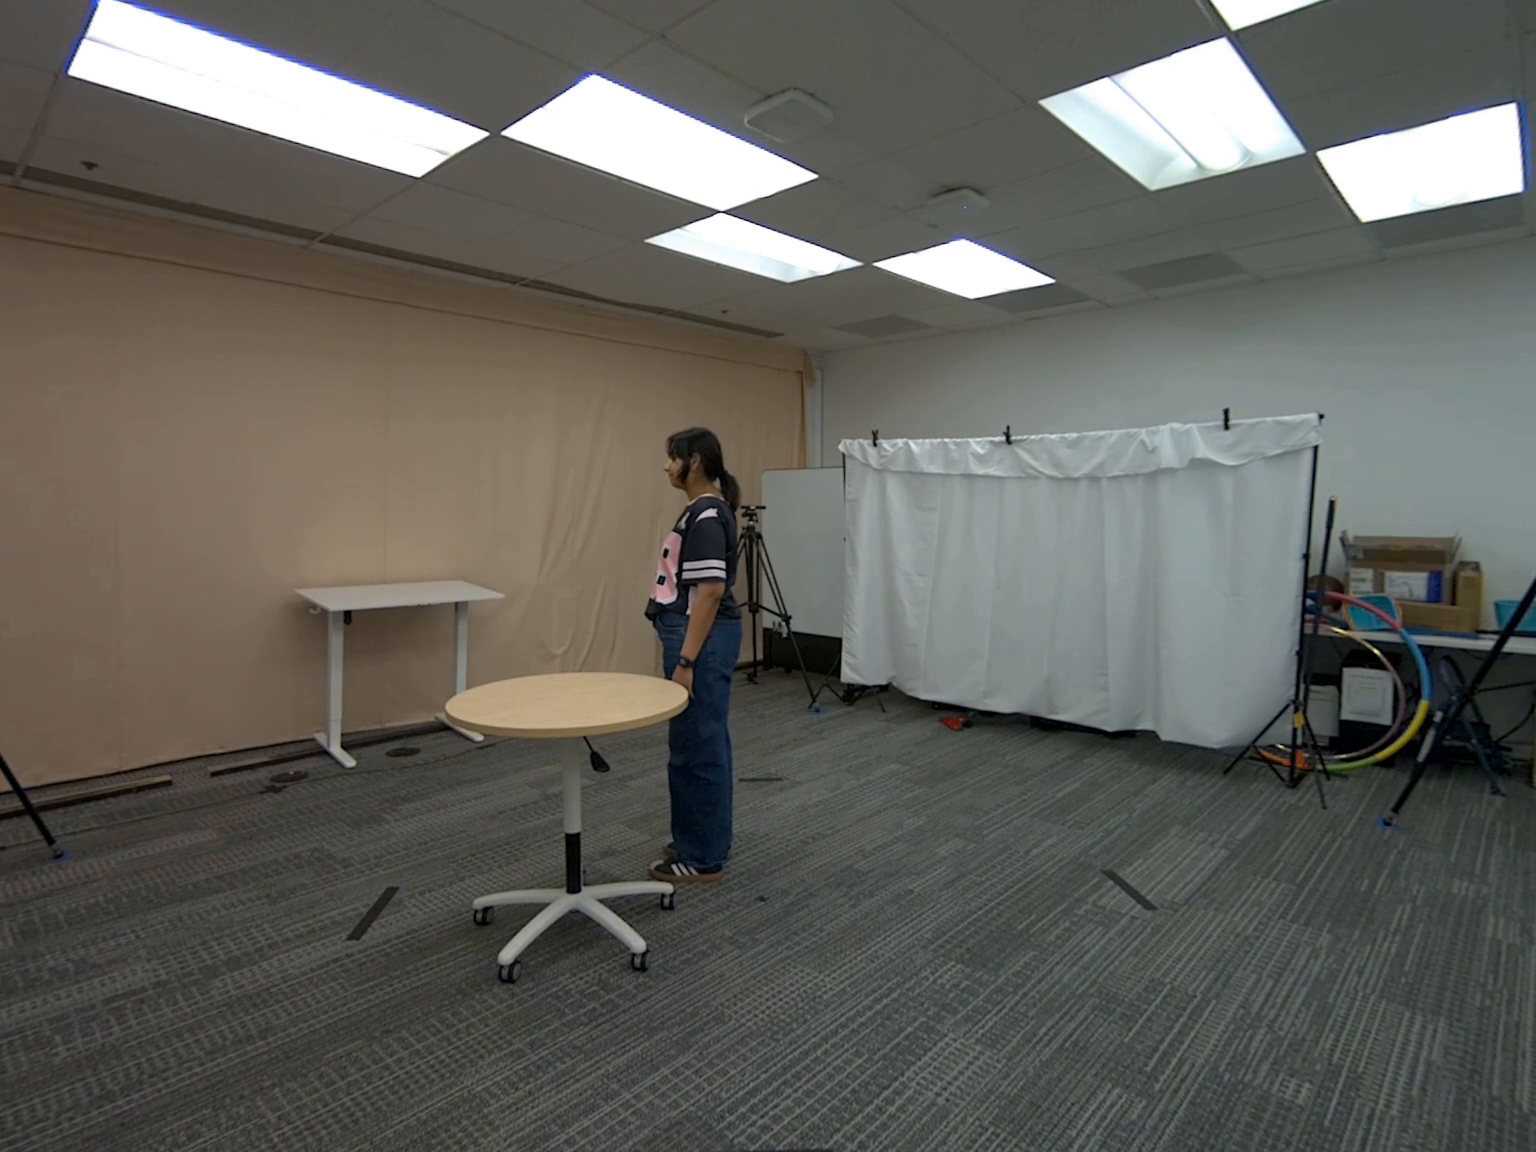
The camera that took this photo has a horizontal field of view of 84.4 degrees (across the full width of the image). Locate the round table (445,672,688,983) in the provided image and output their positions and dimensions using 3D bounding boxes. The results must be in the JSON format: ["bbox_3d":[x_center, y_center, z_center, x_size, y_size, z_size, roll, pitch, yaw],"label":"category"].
[{"bbox_3d":[-0.637,0.777,2.746,0.784,0.784,0.788,-1,4,-2],"label":"round table"}]
